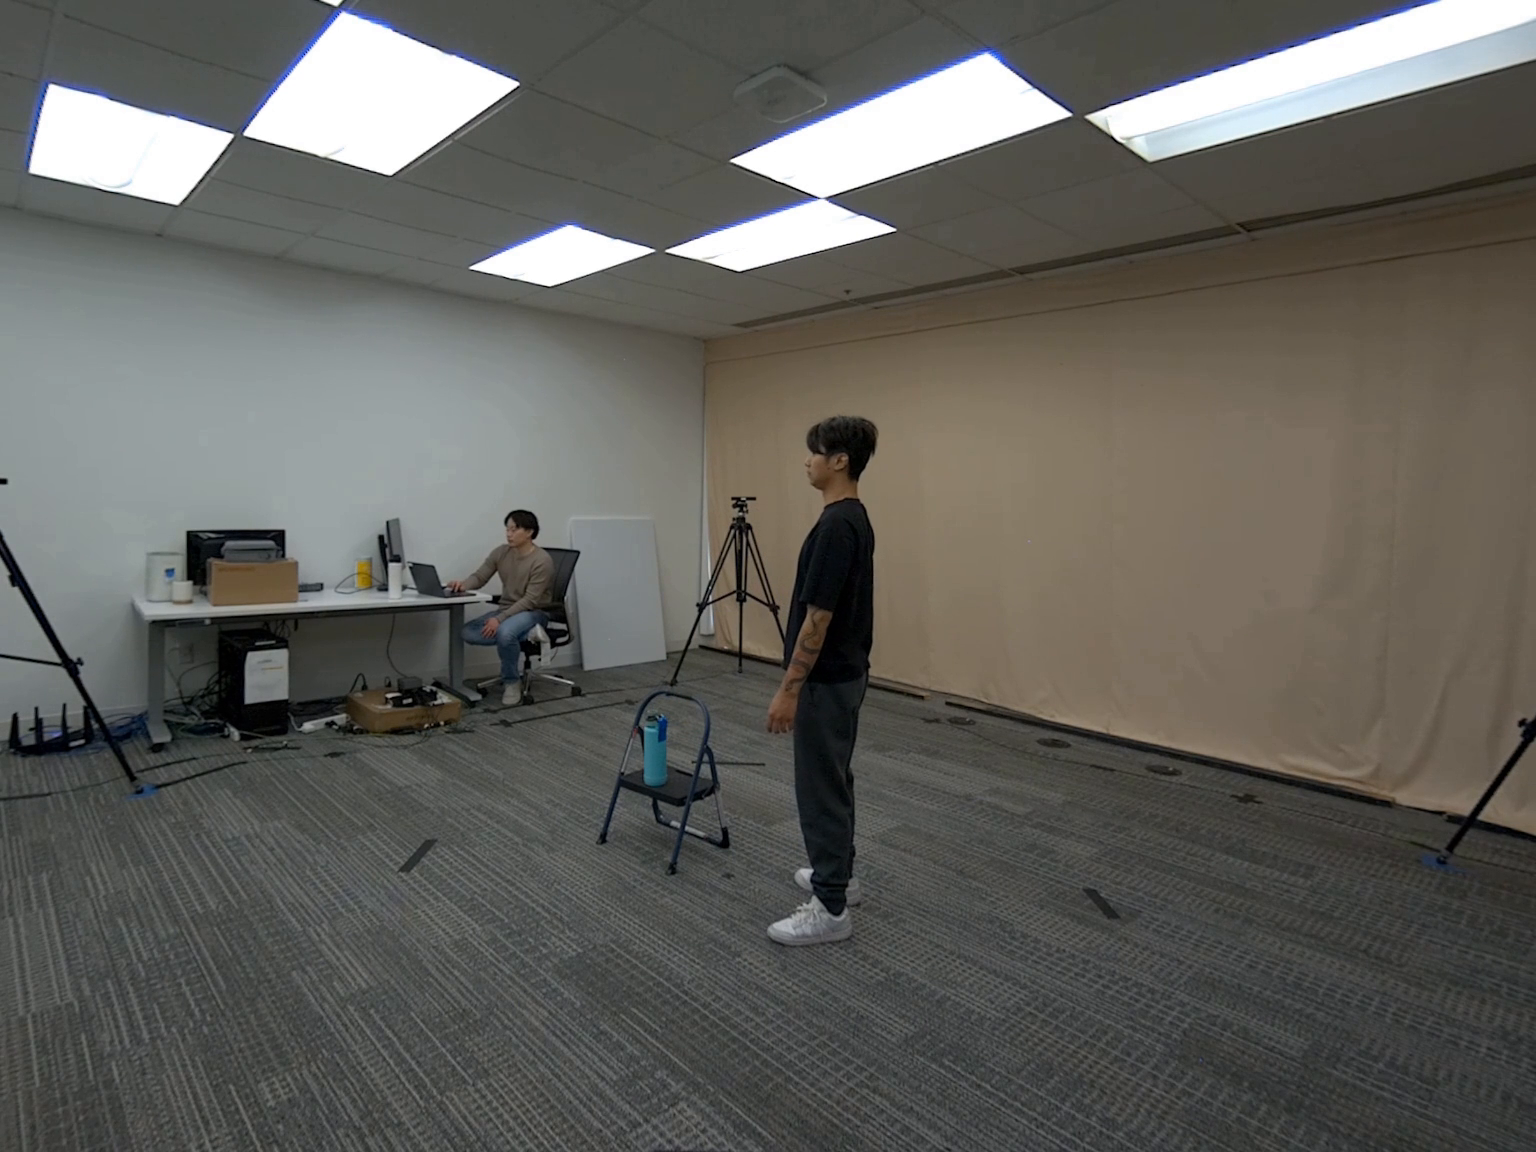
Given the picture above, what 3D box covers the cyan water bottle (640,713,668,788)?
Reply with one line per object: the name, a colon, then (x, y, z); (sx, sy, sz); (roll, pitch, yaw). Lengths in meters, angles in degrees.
cyan water bottle: (-0.454, 0.681, 3.335); (0.092, 0.283, 0.092); (-1, 2, -1)
